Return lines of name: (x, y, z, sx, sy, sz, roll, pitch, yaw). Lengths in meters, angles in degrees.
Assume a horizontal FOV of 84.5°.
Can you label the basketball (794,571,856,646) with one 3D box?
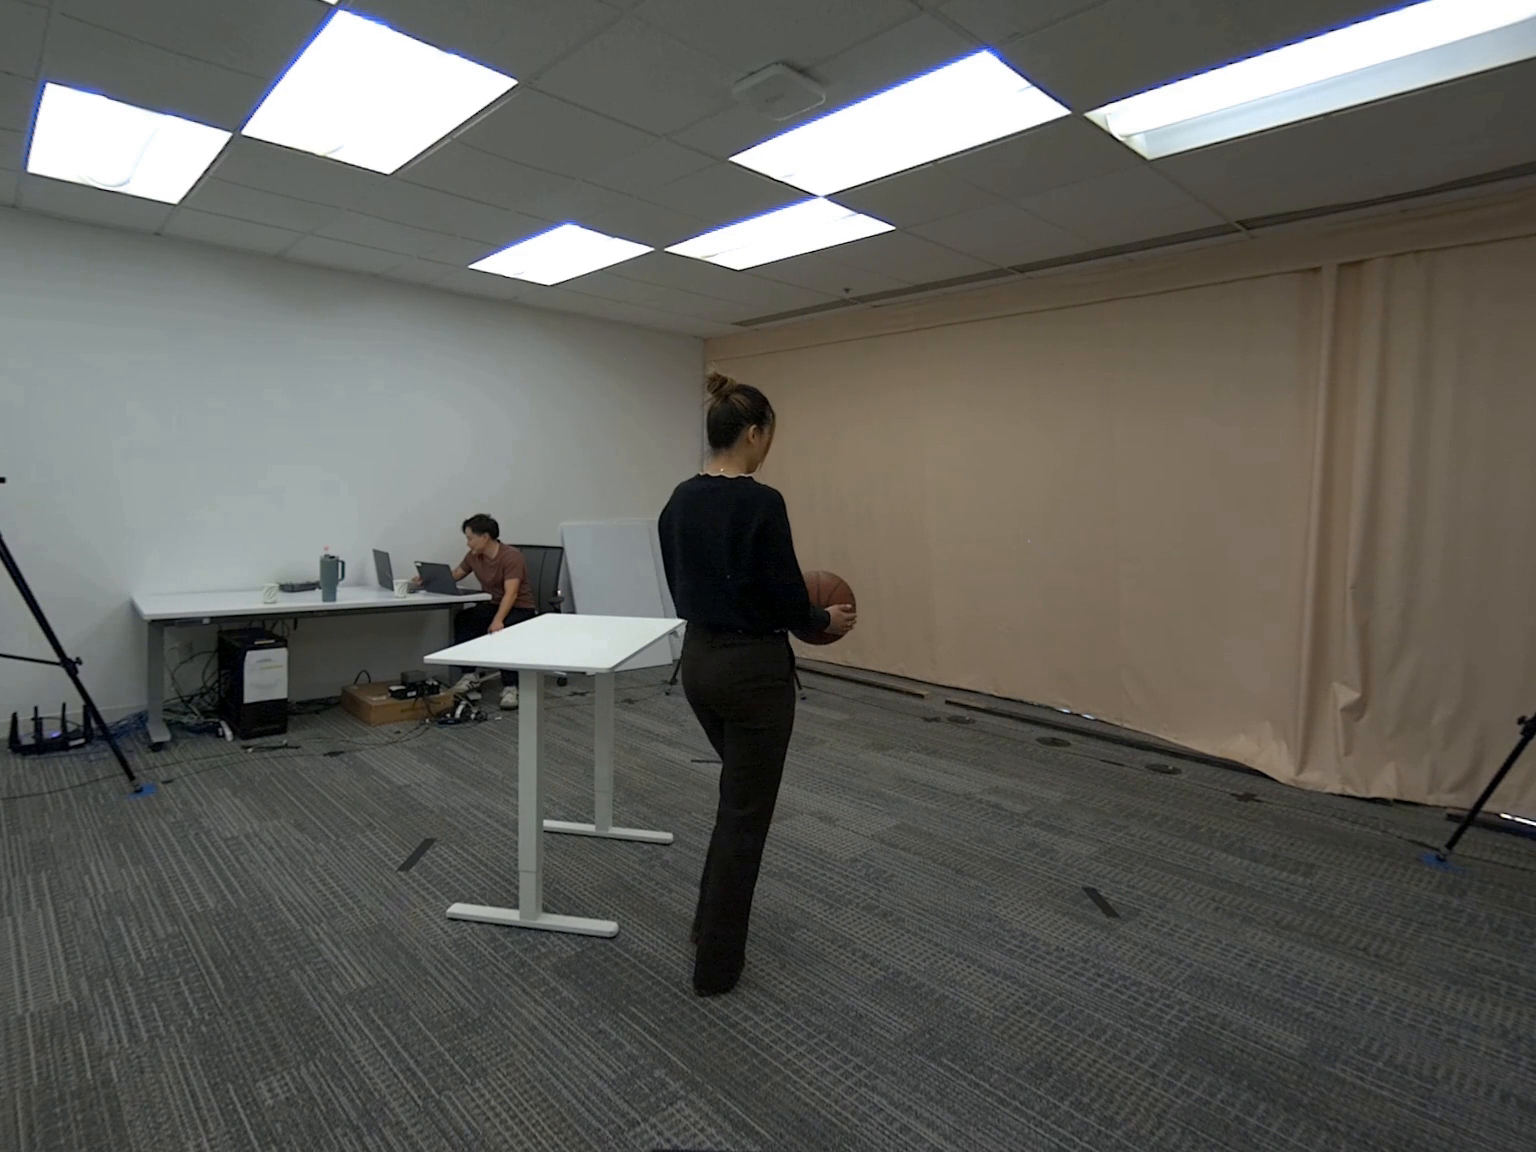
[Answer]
basketball: (0.159, 0.104, 2.665, 0.236, 0.235, 0.237, 1, 4, -1)
